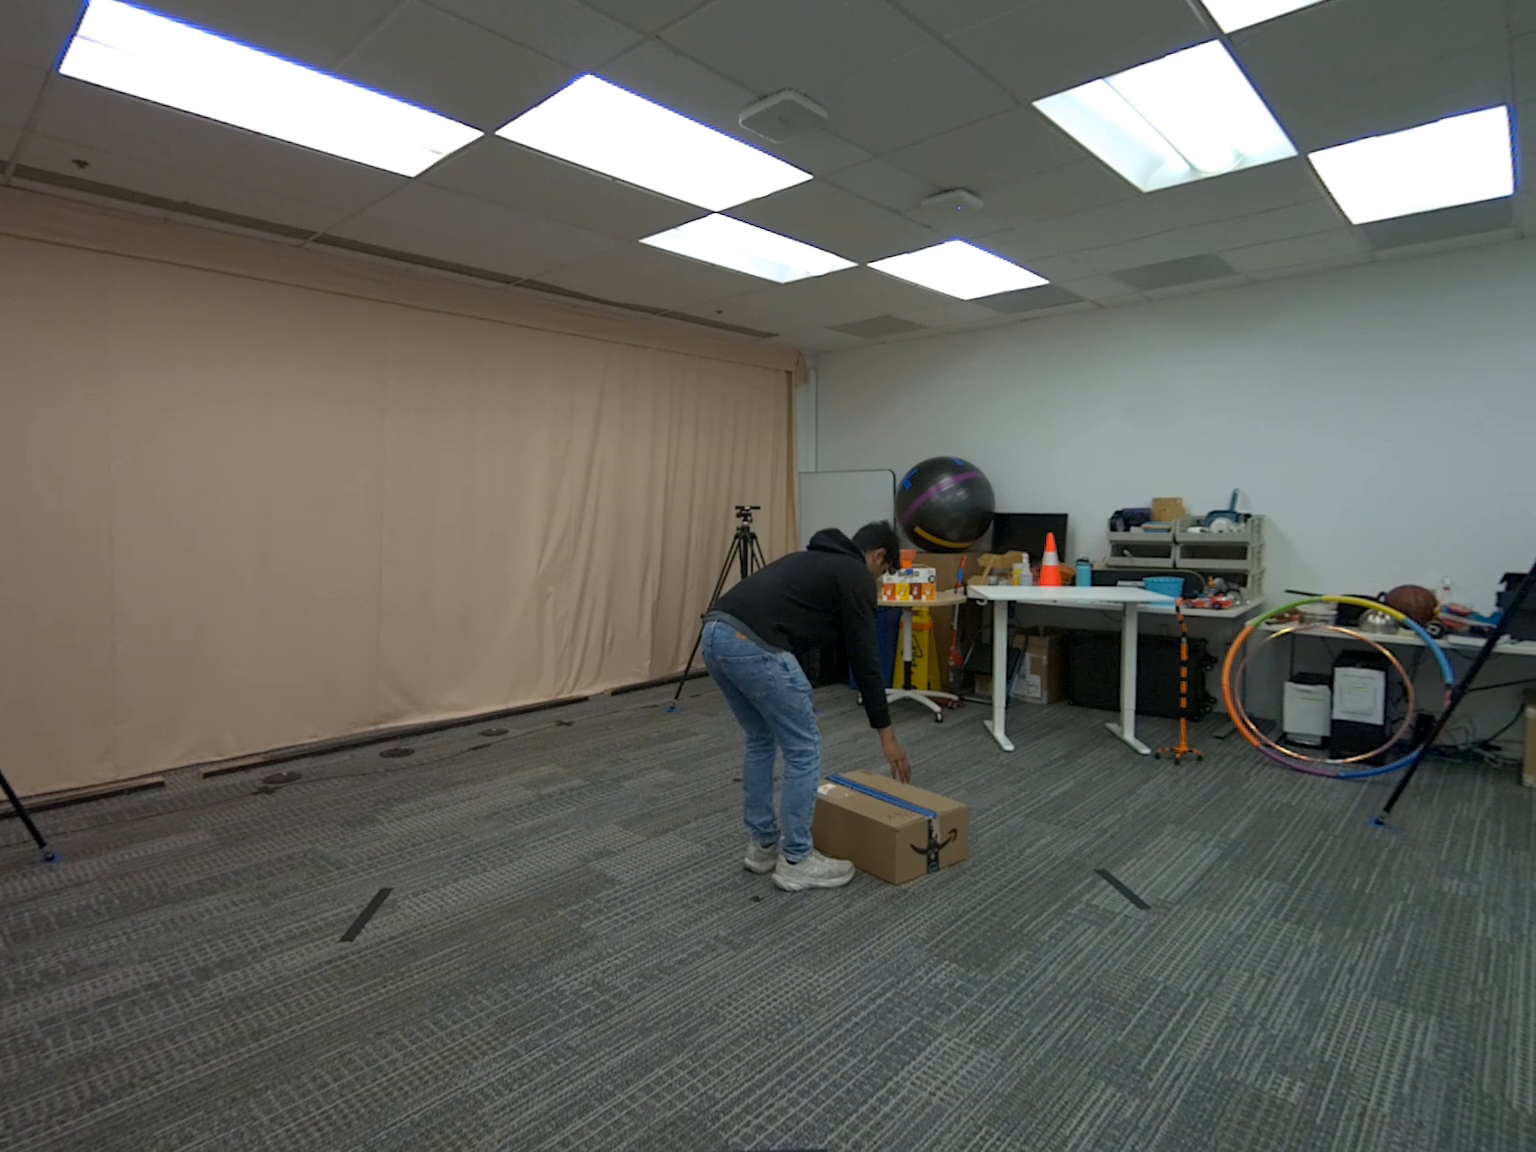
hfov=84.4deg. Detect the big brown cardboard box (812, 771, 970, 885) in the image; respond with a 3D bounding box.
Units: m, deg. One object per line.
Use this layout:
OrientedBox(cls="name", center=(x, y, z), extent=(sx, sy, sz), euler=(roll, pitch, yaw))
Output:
OrientedBox(cls="big brown cardboard box", center=(0.446, 0.993, 3.421), extent=(0.405, 0.232, 0.608), euler=(-3, 6, -38))
